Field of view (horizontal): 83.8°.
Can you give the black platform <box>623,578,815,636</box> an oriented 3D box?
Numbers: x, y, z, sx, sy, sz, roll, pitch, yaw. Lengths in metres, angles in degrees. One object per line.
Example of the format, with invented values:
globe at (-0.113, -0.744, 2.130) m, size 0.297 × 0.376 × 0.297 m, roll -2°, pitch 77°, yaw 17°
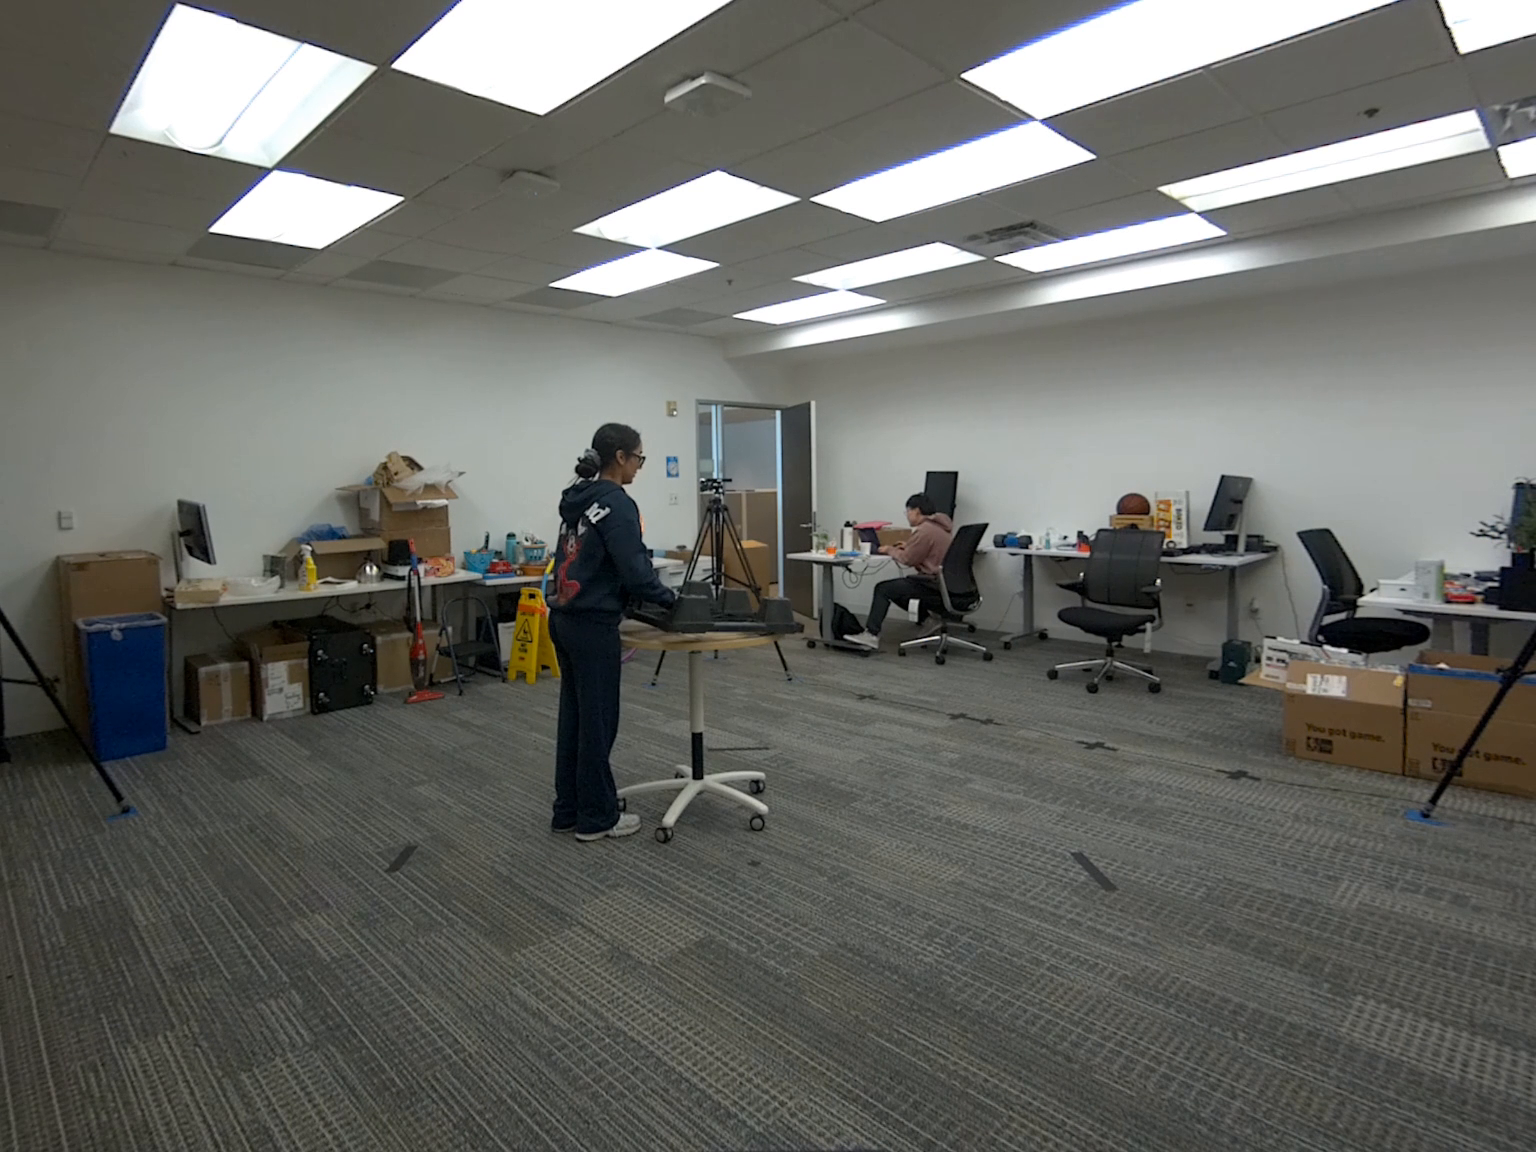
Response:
black platform at (-0.291, 0.114, 3.590) m, size 0.590 × 0.143 × 0.828 m, roll 2°, pitch 4°, yaw -30°
